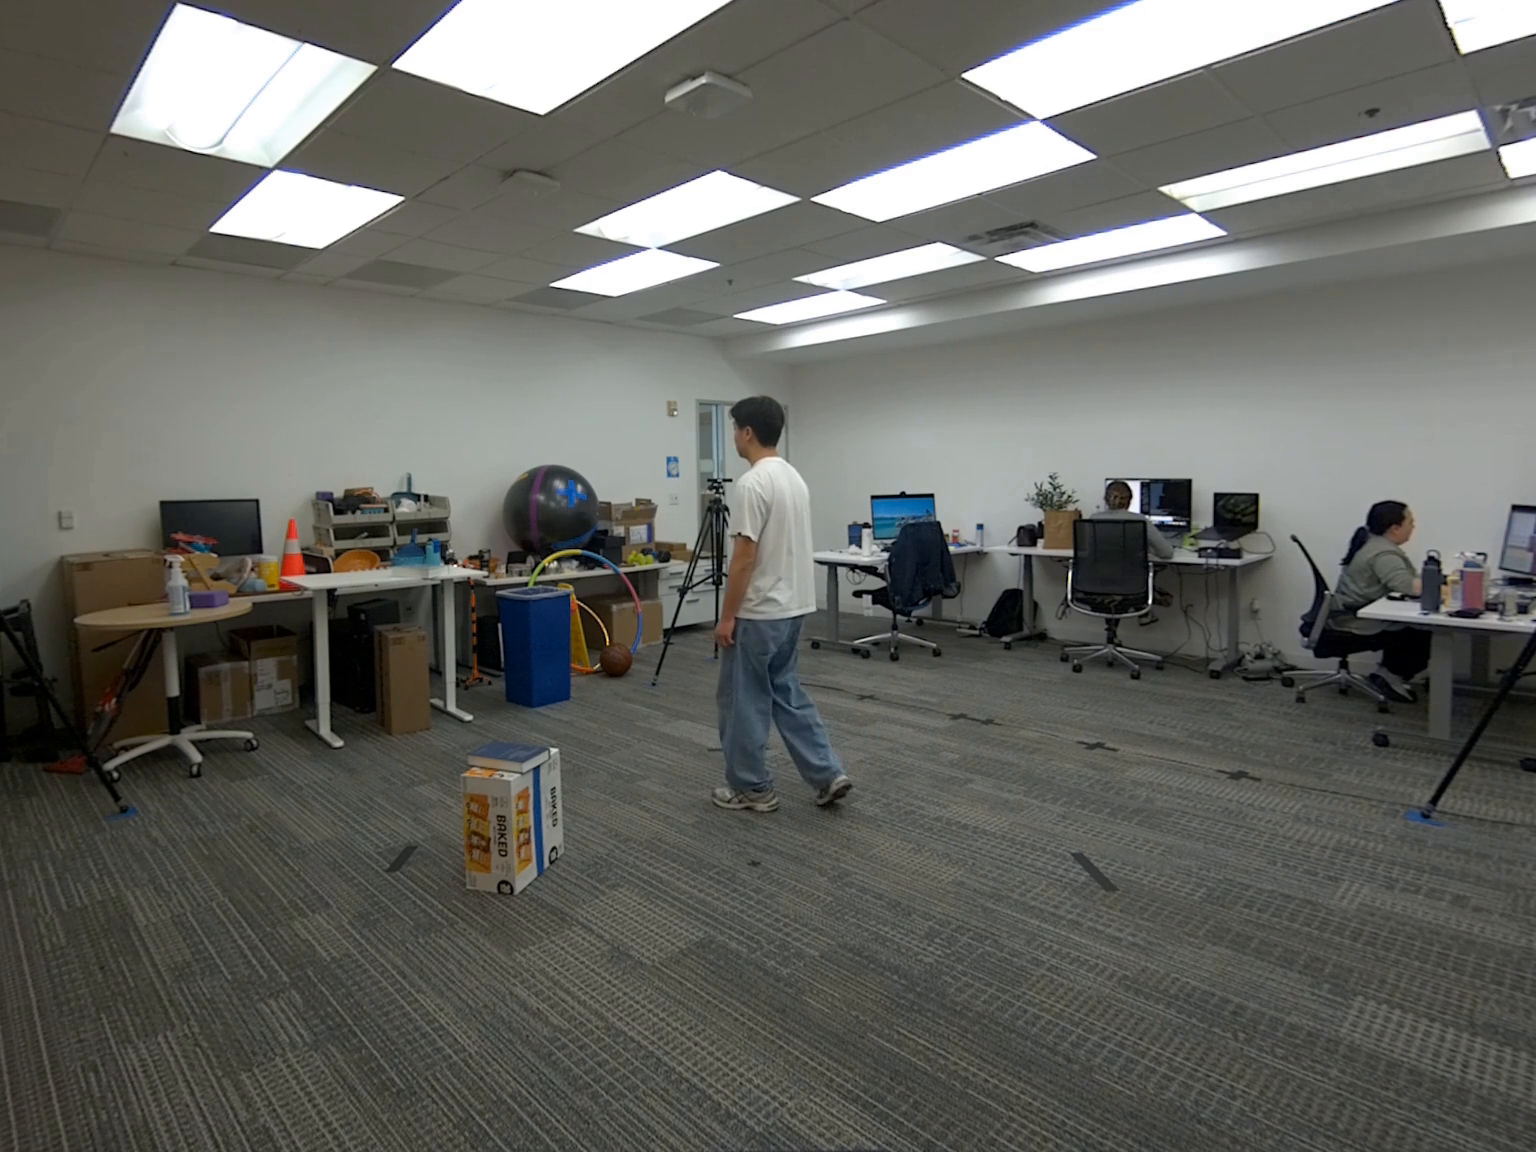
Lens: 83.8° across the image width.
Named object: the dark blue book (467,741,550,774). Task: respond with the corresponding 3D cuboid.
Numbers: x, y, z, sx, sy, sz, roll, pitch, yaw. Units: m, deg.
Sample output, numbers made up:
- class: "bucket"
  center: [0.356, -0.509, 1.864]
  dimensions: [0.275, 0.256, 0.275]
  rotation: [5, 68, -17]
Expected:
- class: "dark blue book"
  center: [-0.925, 0.644, 3.051]
  dimensions: [0.250, 0.045, 0.161]
  rotation: [2, 7, 22]
